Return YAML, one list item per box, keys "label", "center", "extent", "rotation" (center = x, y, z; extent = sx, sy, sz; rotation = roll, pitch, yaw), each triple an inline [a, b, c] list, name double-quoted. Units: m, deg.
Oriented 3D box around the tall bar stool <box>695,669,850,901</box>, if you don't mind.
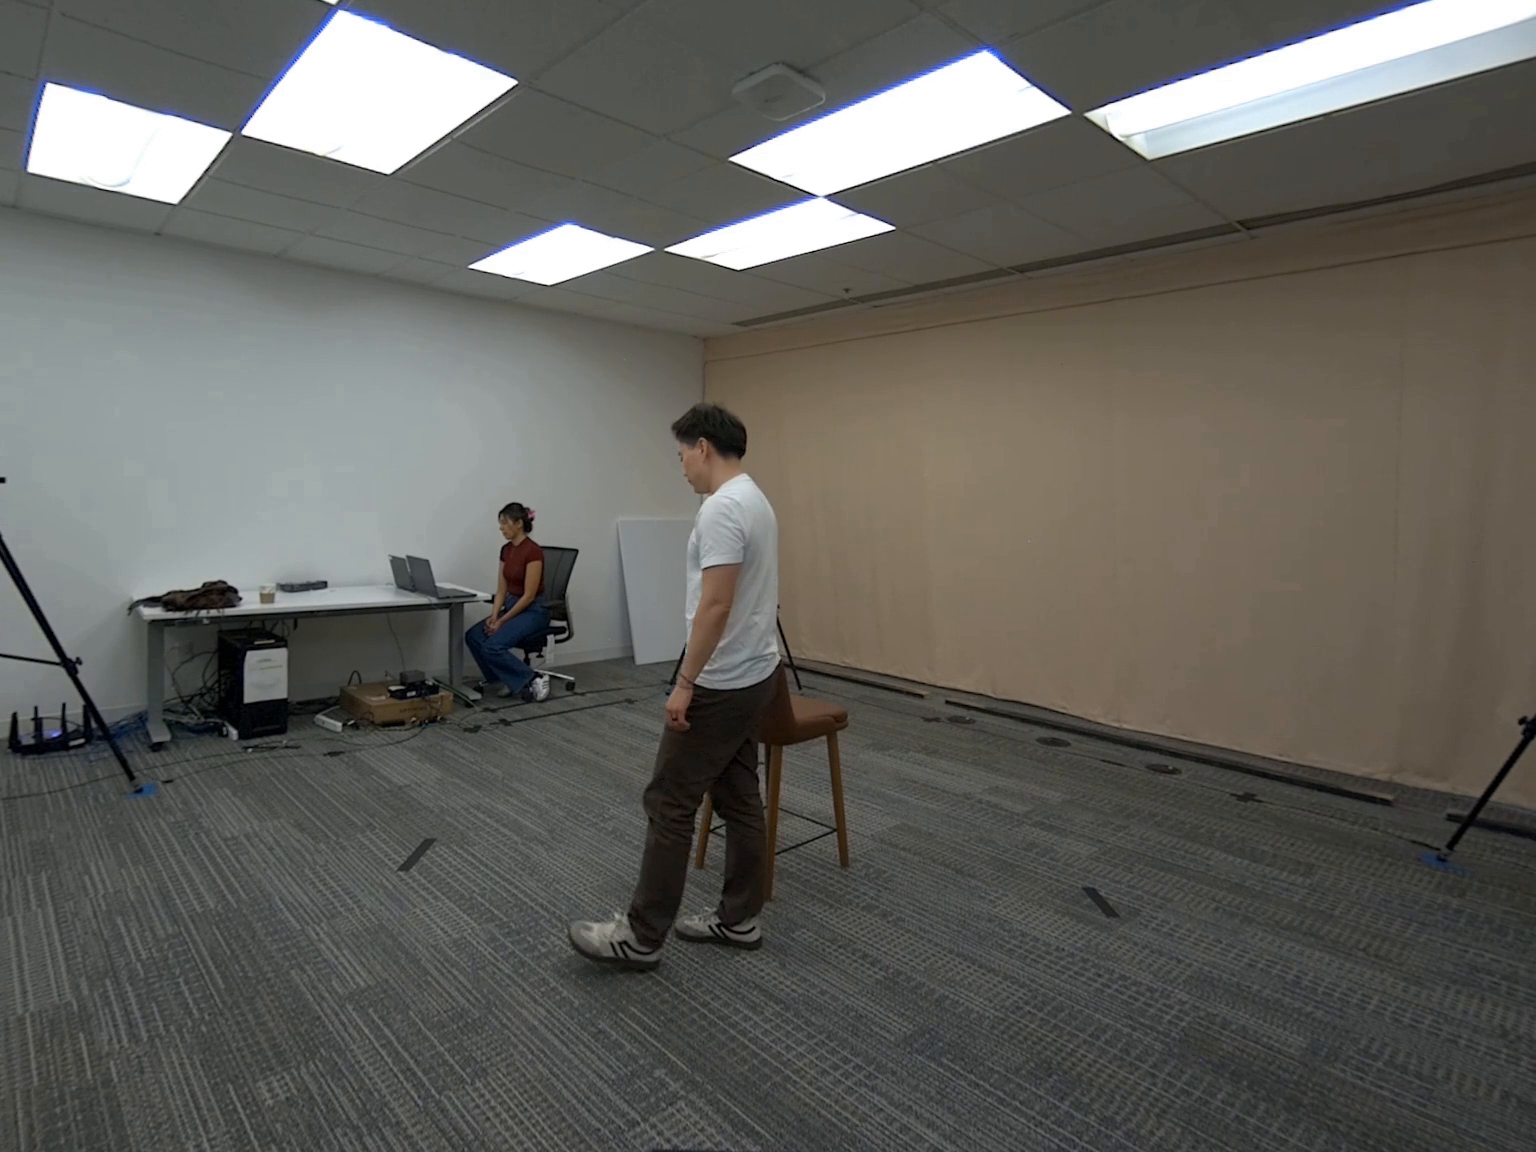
- label: "tall bar stool"
  center: [0.010, 0.663, 3.153]
  extent: [0.468, 0.886, 0.457]
  rotation: [4, 7, 44]
